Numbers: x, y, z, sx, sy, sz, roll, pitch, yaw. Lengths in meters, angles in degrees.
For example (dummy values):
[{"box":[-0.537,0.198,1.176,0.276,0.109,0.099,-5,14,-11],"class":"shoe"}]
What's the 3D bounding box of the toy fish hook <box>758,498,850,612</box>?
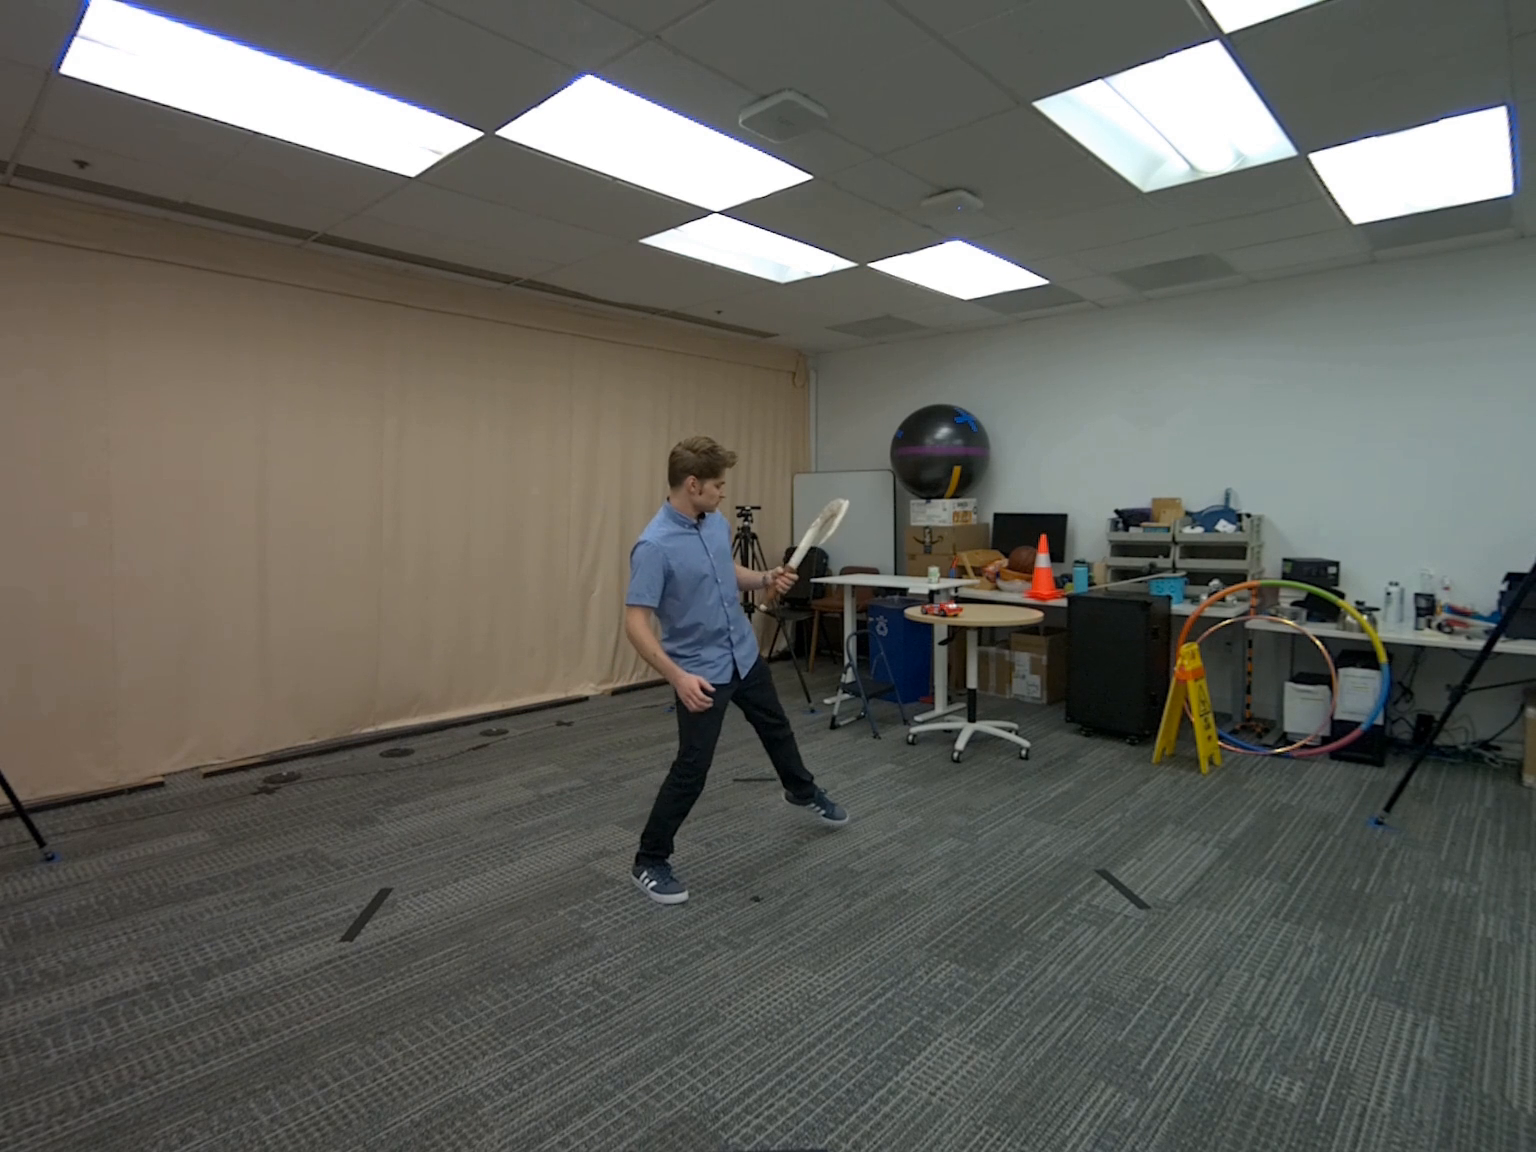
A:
[{"box":[0.144,-0.060,3.018,0.047,0.507,0.227,35,2,-13],"class":"toy fish hook"}]
